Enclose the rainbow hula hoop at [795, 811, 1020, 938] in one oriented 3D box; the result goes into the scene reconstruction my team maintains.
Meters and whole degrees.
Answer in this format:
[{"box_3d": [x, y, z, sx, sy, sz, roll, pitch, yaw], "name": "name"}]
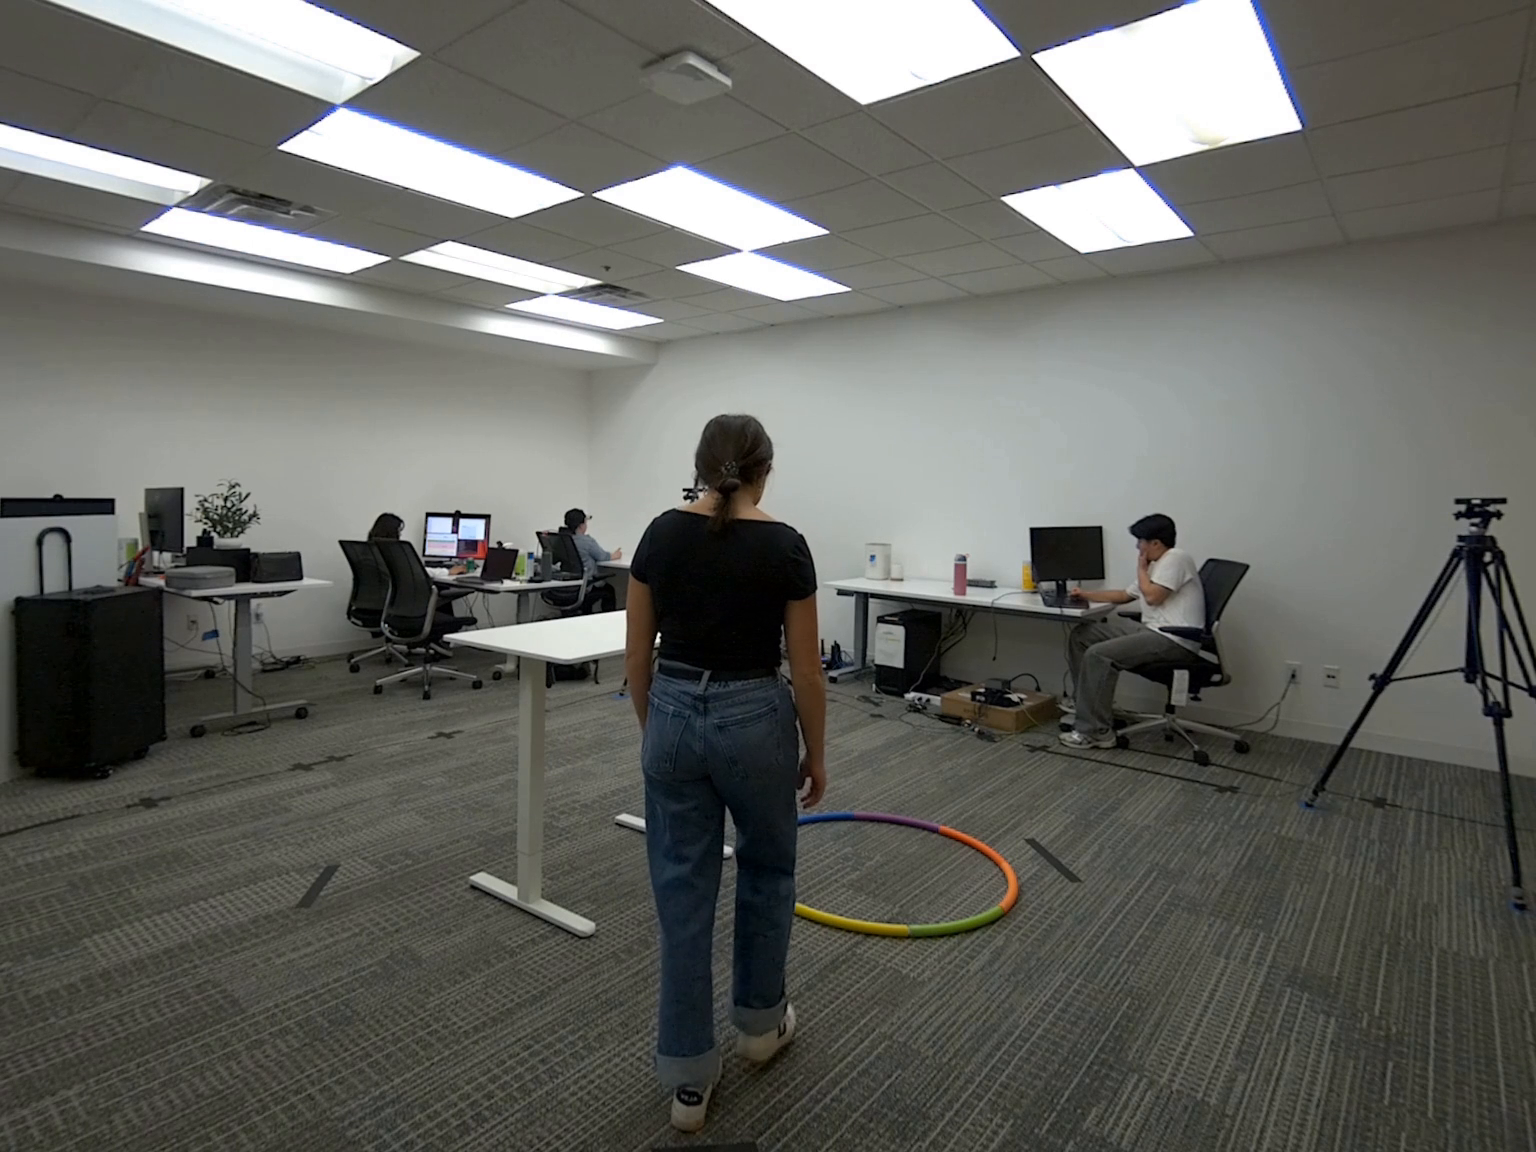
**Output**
[{"box_3d": [0.396, 1.041, 3.146, 0.978, 0.035, 0.984, 1, 6, -2], "name": "rainbow hula hoop"}]
